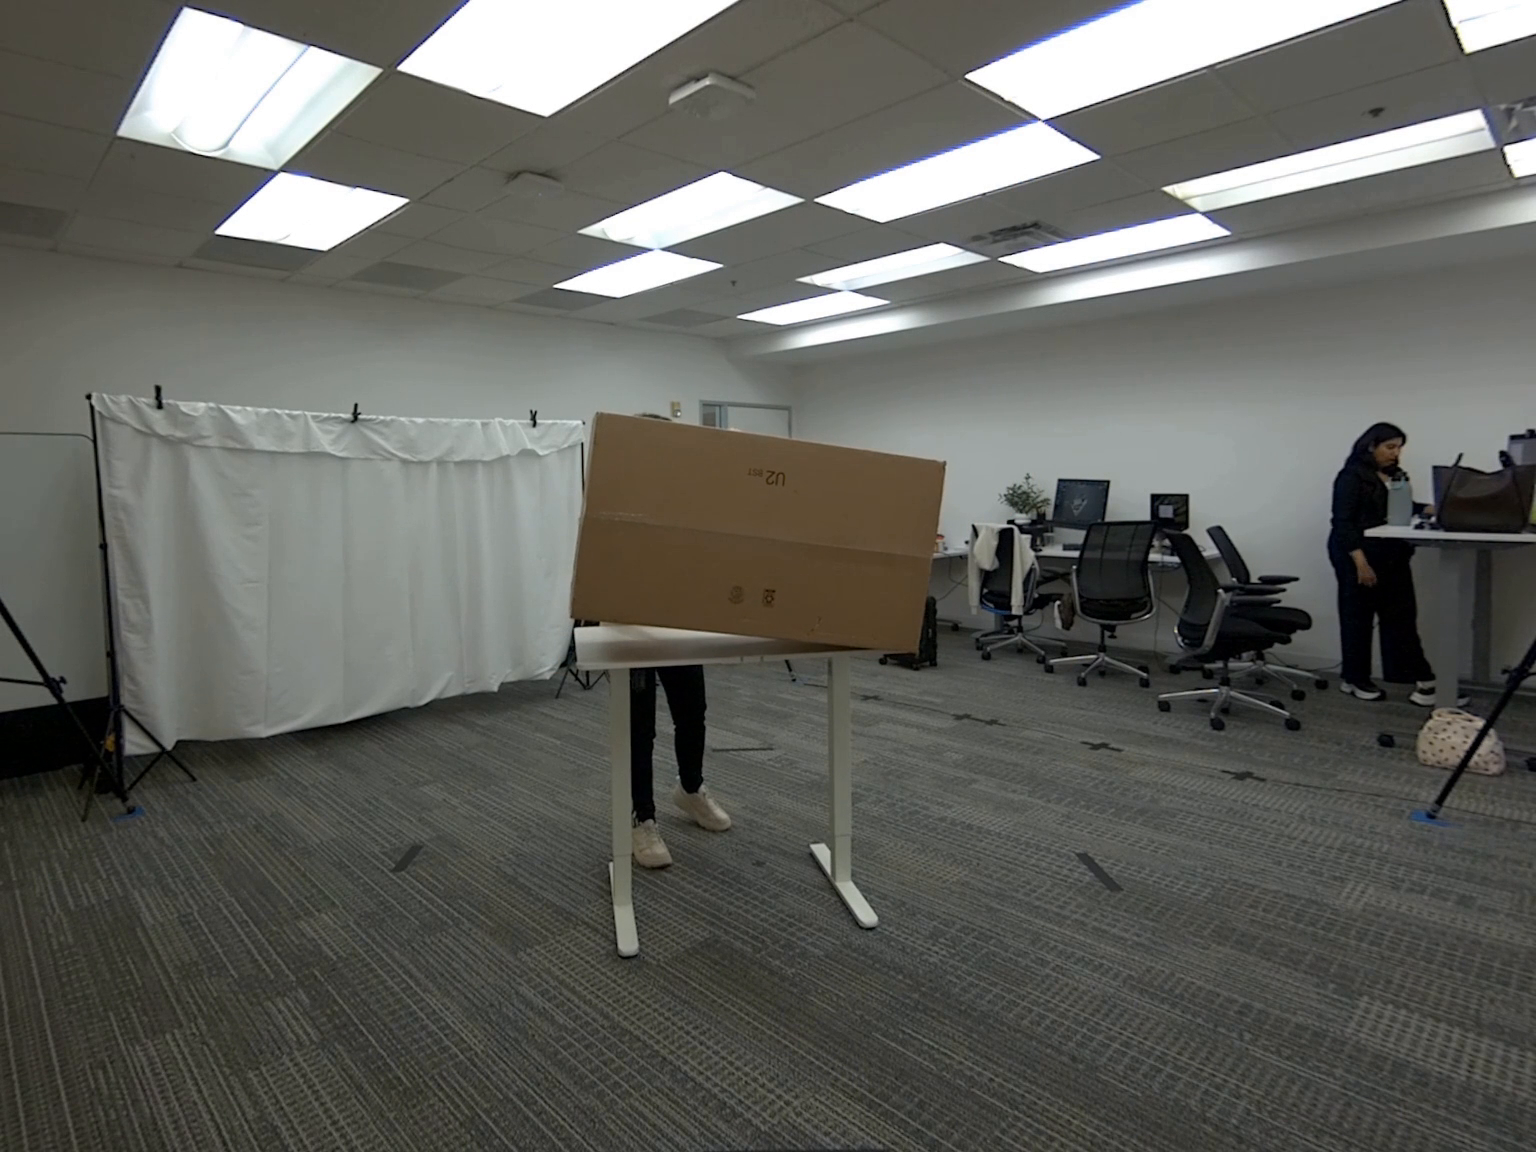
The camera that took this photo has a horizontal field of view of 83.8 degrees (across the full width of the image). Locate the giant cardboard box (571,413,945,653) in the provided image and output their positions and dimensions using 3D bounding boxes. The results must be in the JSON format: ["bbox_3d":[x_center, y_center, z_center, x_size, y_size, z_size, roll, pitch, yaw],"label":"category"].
[{"bbox_3d":[-0.065,-0.127,2.637,1.018,0.581,0.452,6,6,-8],"label":"giant cardboard box"}]
